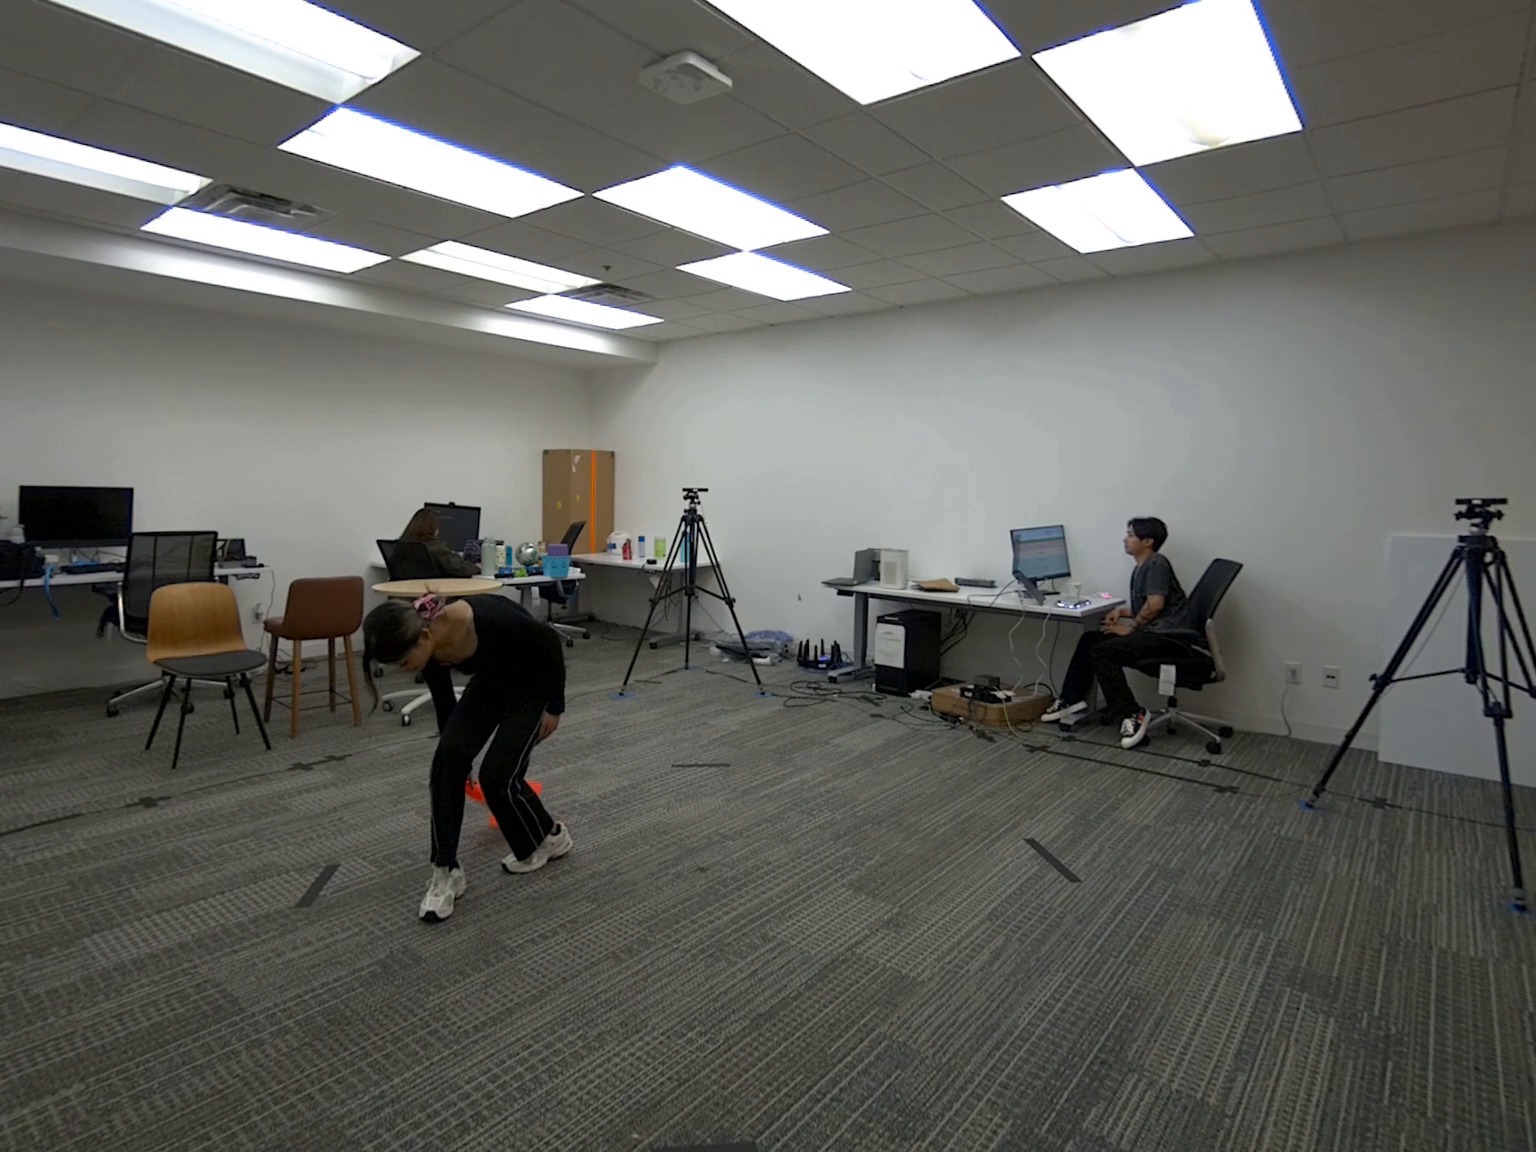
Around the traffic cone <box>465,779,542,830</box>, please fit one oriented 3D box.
[{"bbox_3d":[-1.105,0.851,3.336,0.211,0.206,0.369,7,-23,25],"label":"traffic cone"}]
